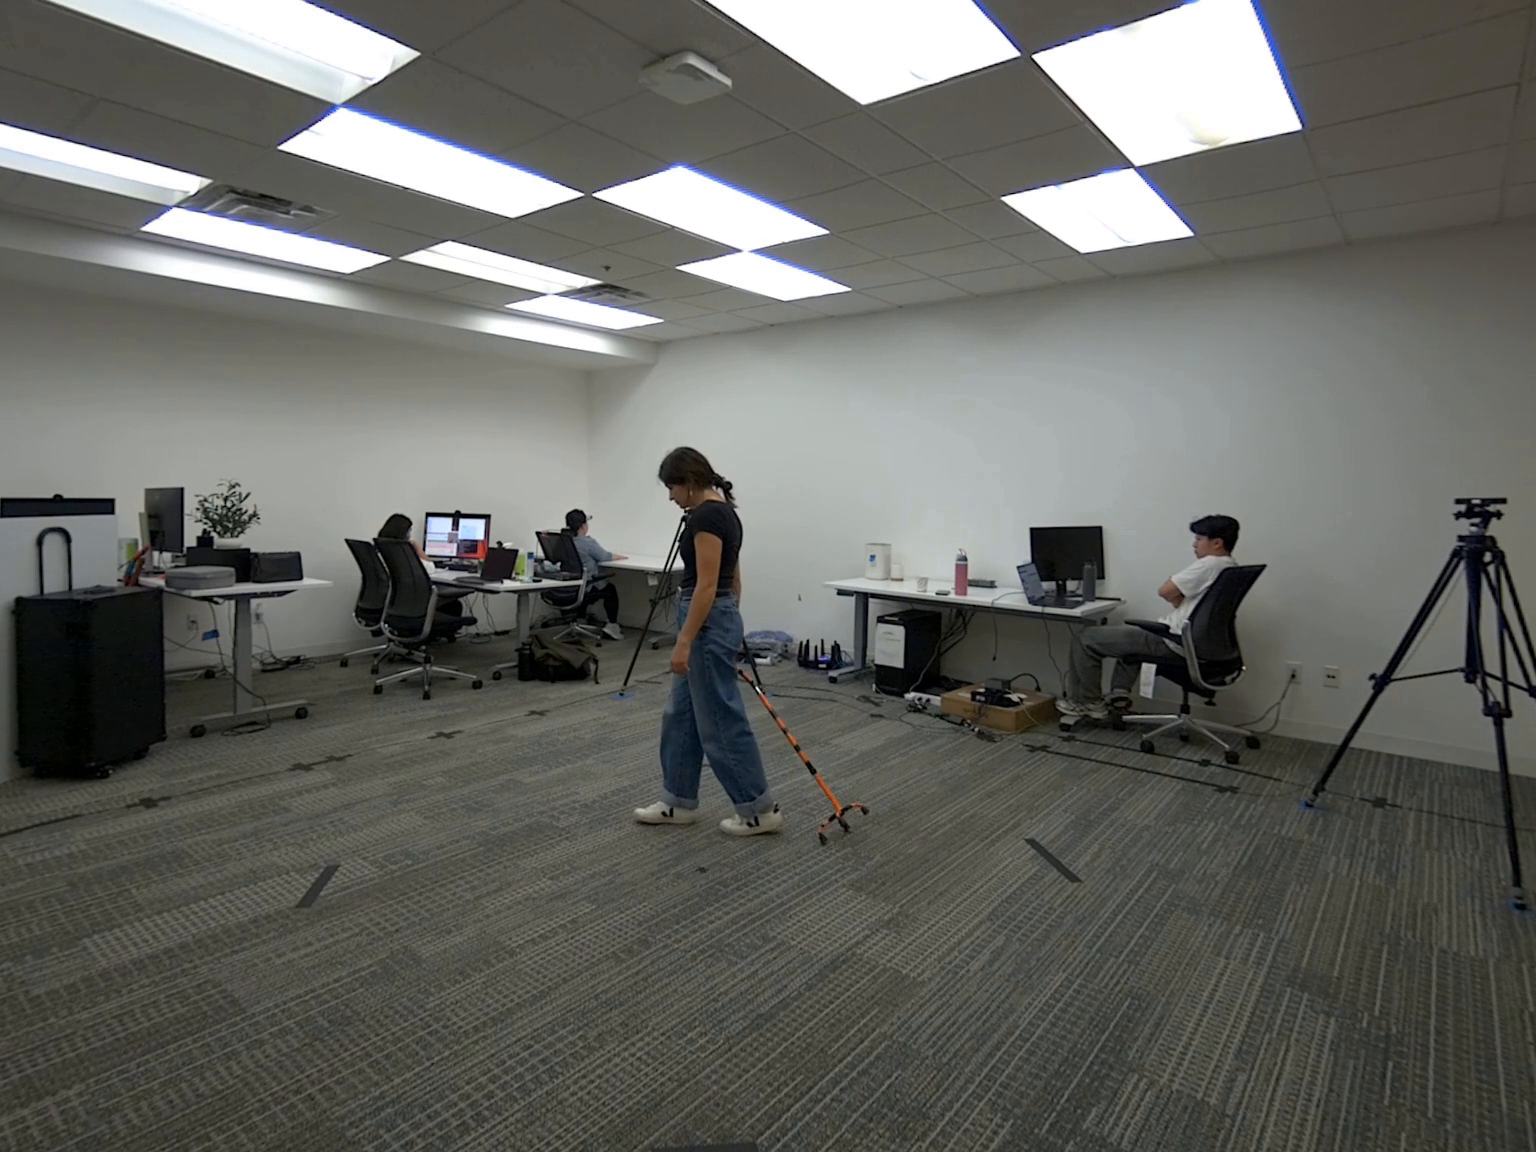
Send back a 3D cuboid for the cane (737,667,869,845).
[{"bbox_3d":[0.075,0.653,3.586,0.200,0.151,0.938,0,47,-51],"label":"cane"}]
